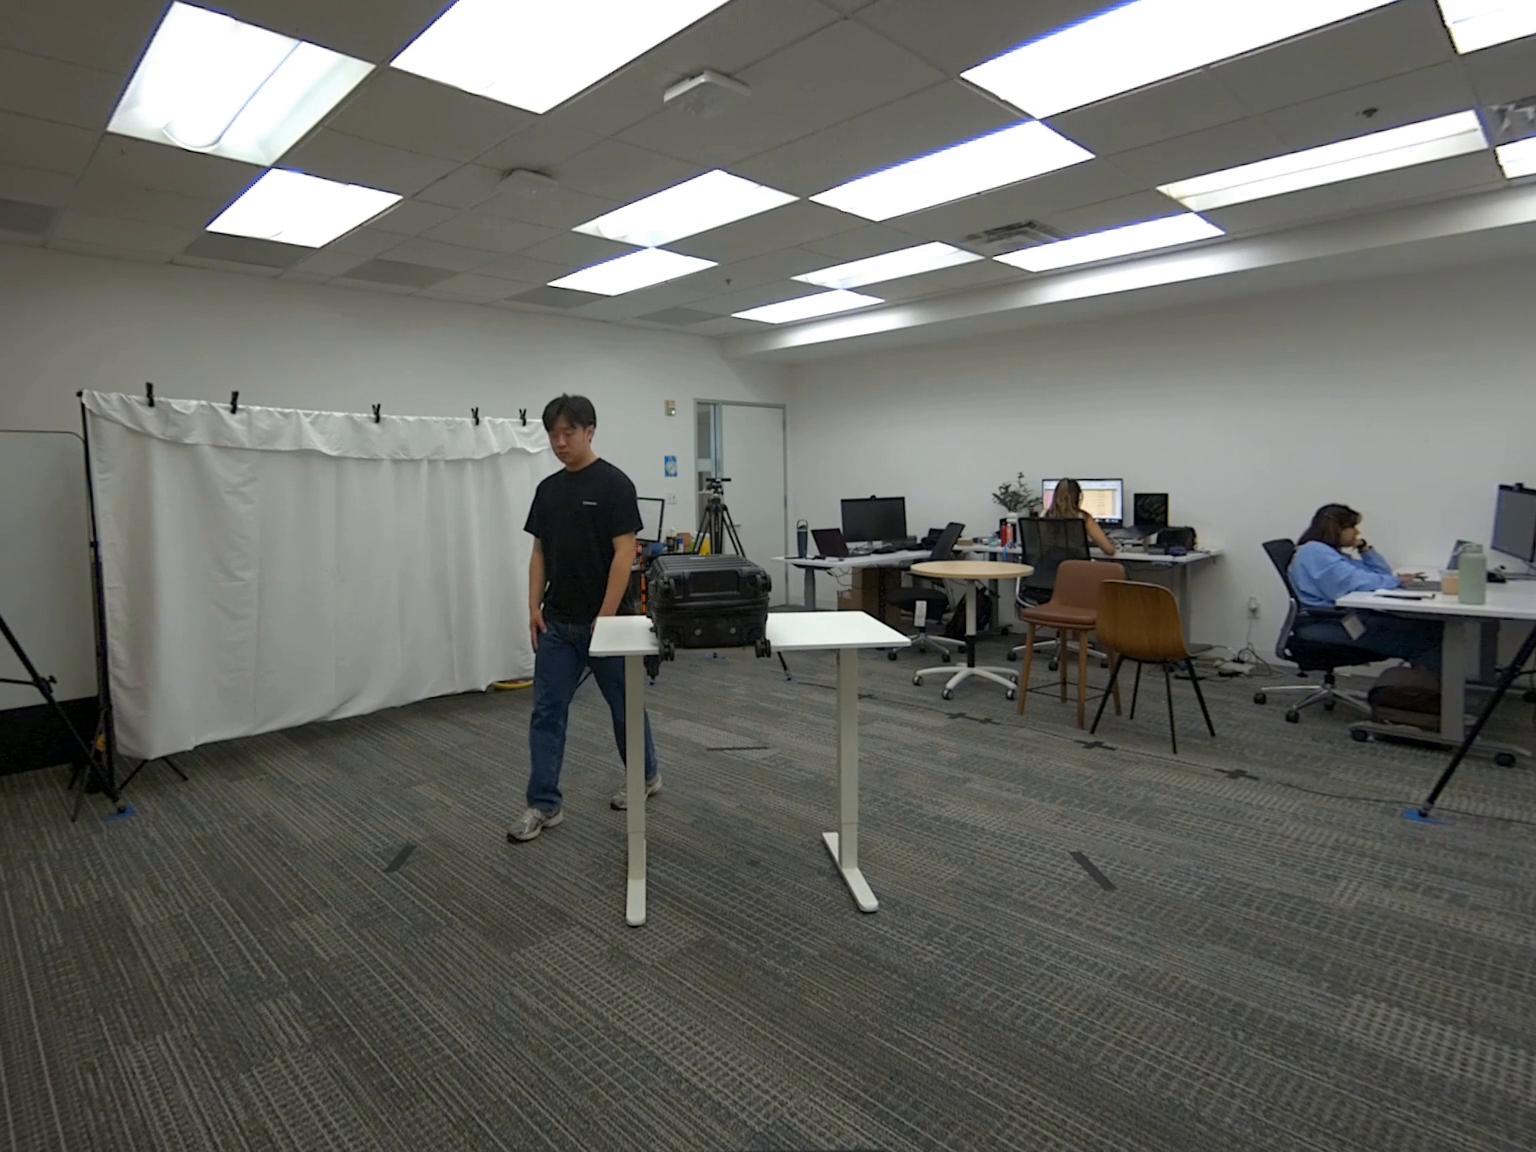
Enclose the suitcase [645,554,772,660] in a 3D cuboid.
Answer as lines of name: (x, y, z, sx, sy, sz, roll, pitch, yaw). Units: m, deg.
suitcase: (-0.242, 0.050, 2.994, 0.380, 0.255, 0.994, -3, 9, -11)
